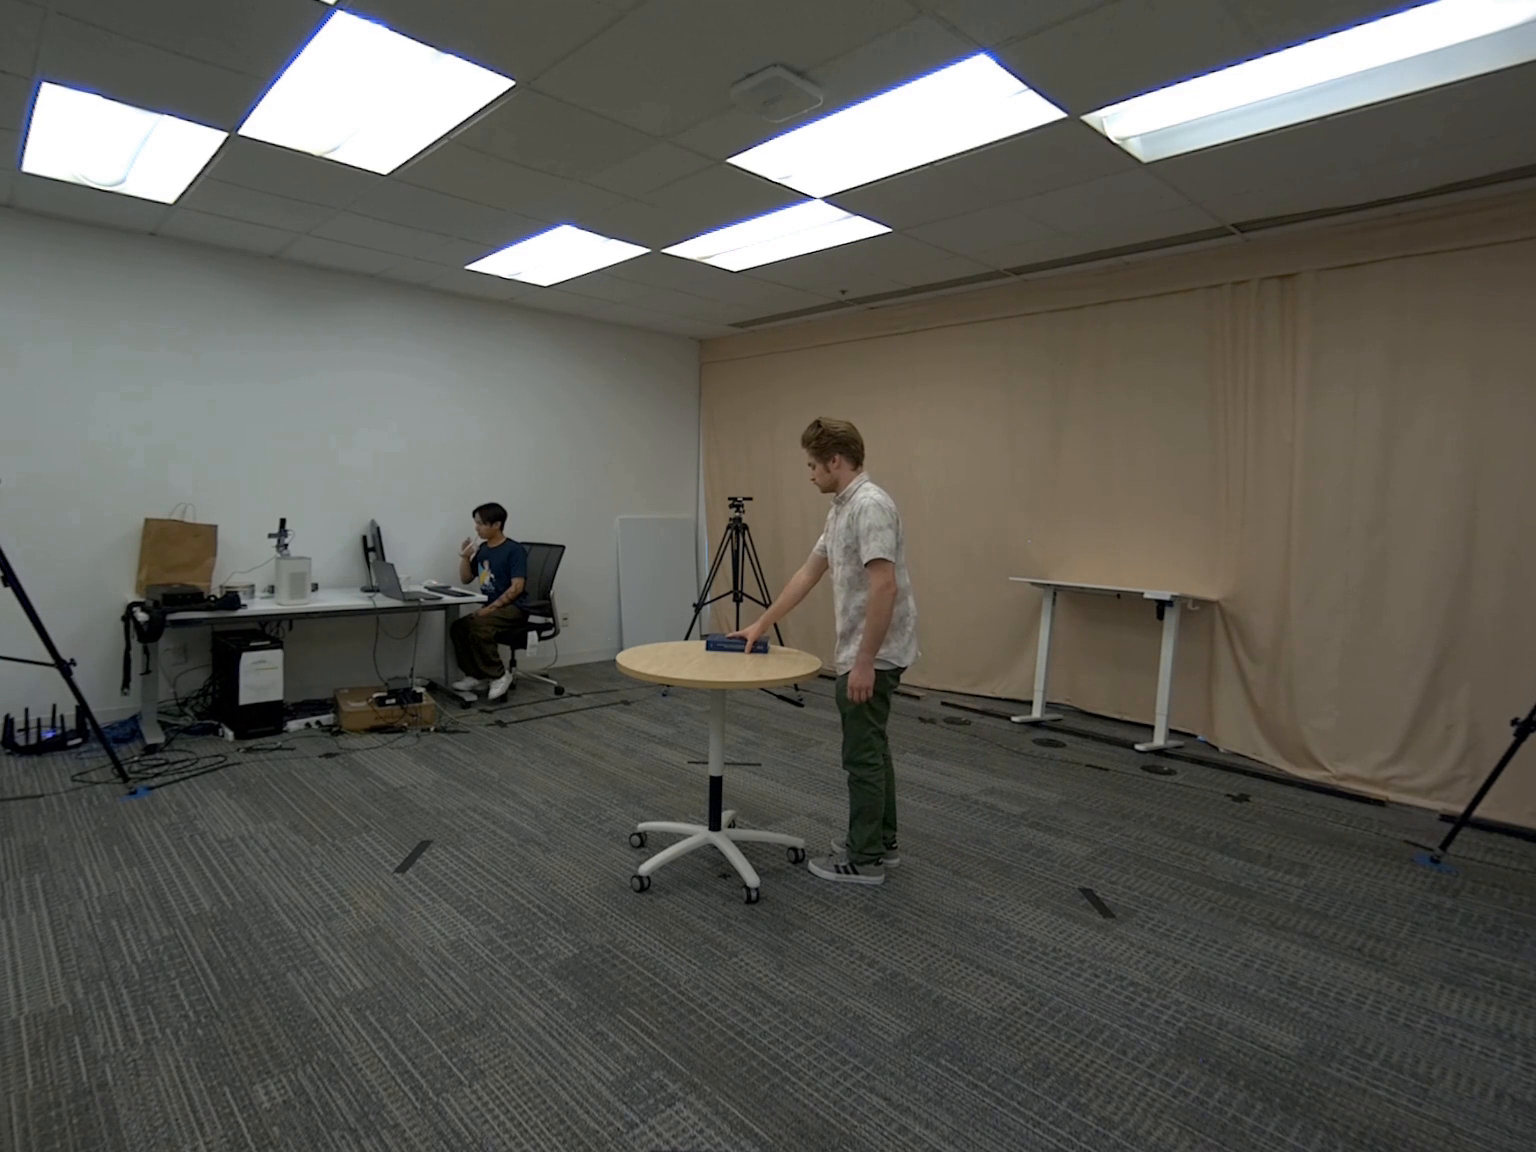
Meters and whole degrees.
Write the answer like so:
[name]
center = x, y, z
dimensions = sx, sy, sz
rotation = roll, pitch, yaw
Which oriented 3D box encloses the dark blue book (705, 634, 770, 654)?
[dark blue book]
center = -0.125, 0.265, 3.361
dimensions = 0.246, 0.045, 0.163
rotation = 2, 5, 6
